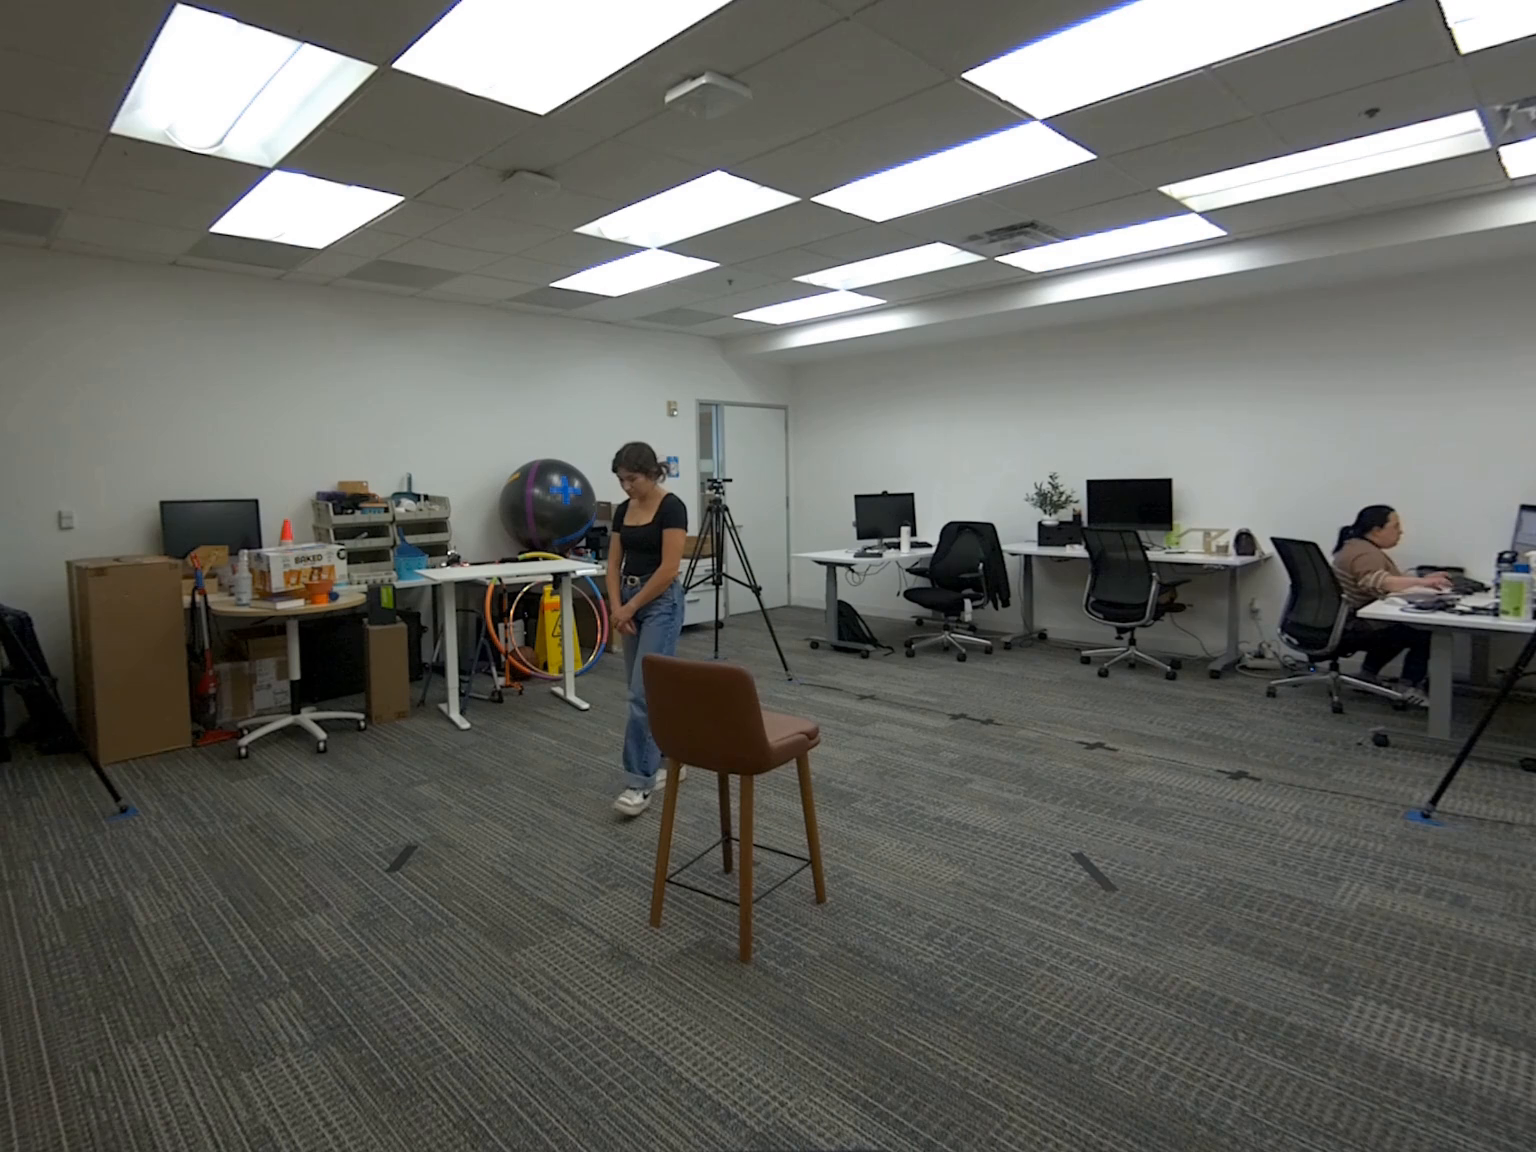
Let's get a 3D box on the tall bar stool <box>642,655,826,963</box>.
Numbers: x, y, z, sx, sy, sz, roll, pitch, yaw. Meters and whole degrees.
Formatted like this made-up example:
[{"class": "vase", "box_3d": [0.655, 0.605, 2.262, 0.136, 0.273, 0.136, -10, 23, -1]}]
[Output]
[{"class": "tall bar stool", "box_3d": [-0.106, 0.656, 2.725, 0.470, 0.885, 0.457, 2, 7, 35]}]
